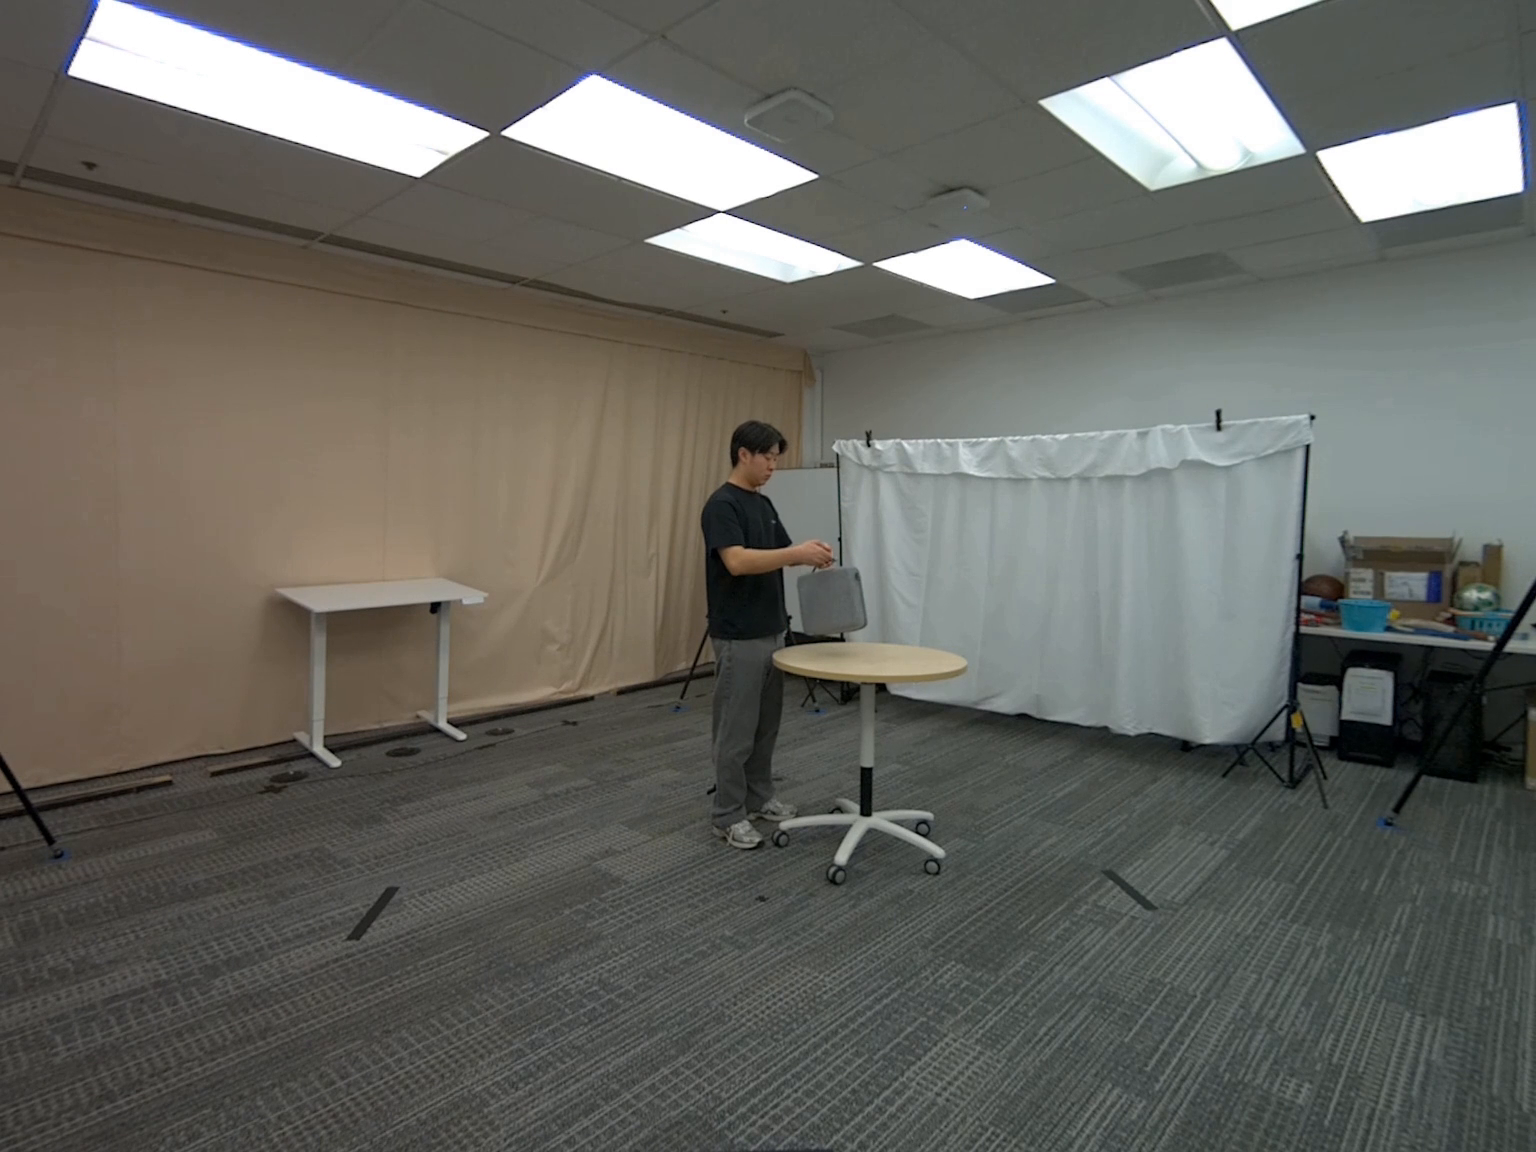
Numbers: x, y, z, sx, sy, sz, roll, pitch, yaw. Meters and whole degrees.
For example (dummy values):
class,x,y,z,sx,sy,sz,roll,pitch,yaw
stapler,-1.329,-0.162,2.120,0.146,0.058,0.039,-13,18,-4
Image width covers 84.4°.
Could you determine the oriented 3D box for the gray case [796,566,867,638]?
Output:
class,x,y,z,sx,sy,sz,roll,pitch,yaw
gray case,0.255,0.089,3.370,0.269,0.289,0.100,-12,-8,28
